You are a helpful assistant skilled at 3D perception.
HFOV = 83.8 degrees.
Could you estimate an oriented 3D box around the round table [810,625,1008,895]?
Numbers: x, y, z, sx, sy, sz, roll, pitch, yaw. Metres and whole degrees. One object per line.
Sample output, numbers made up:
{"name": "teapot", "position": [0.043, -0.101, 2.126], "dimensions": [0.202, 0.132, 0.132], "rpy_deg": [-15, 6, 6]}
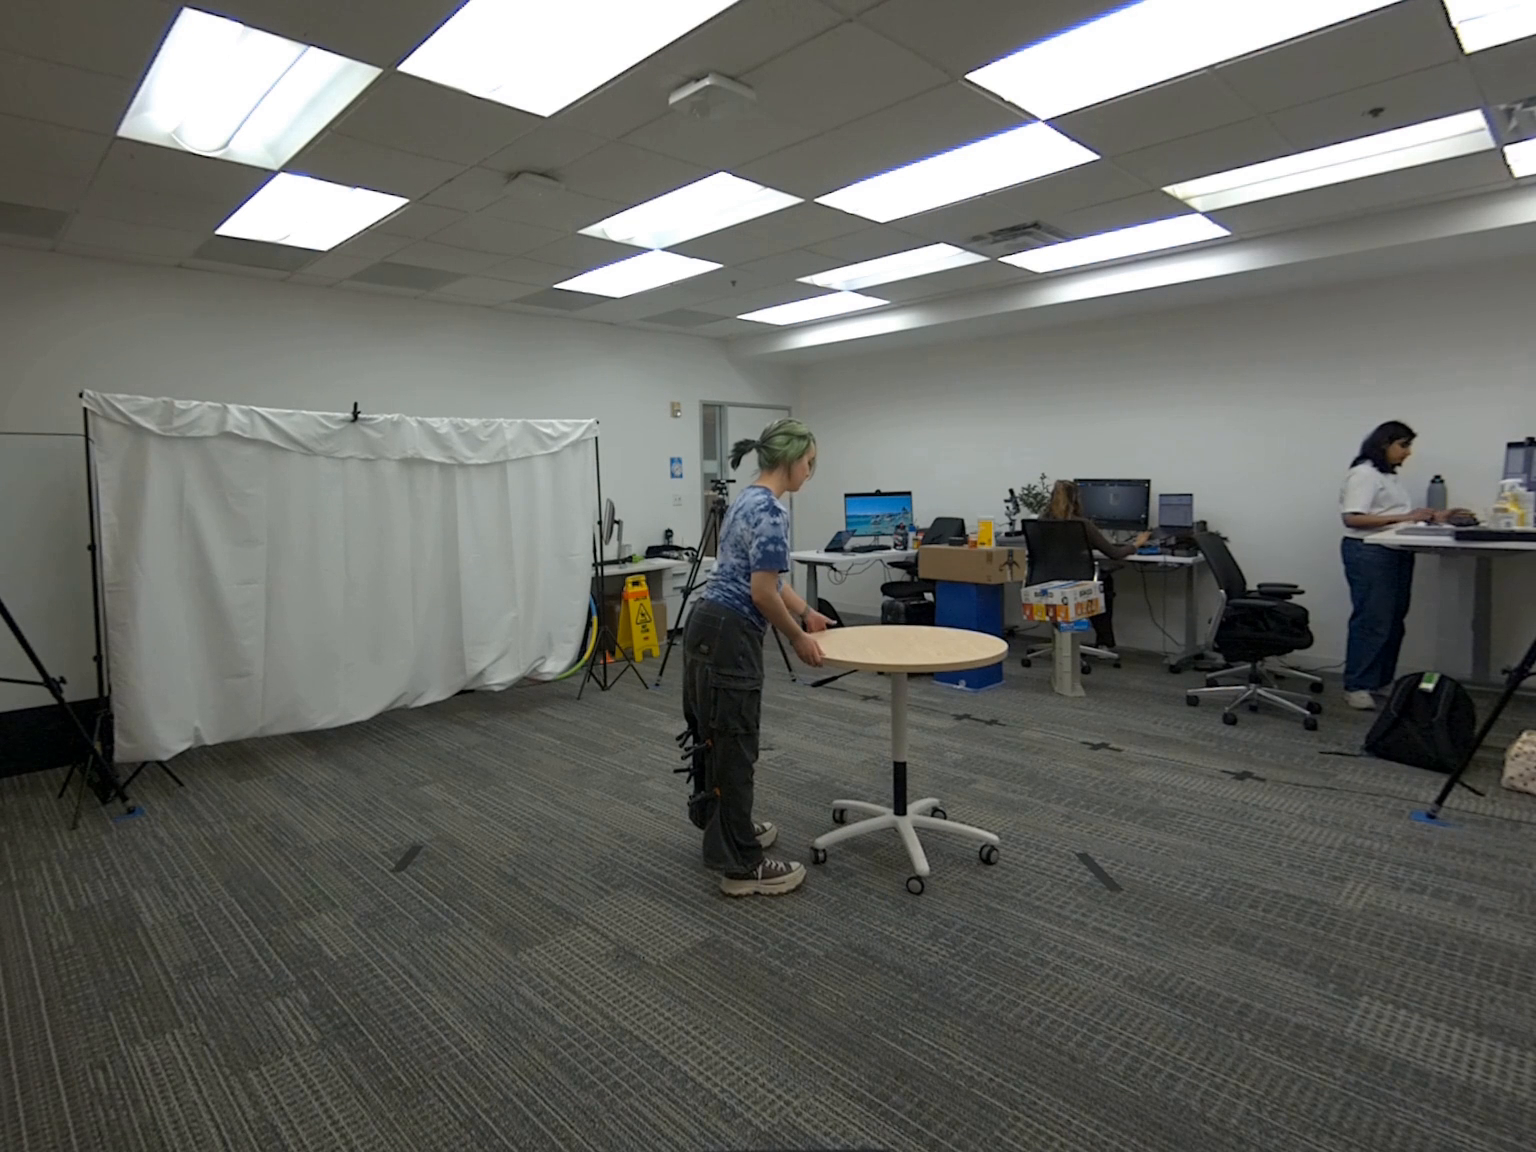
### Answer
{"name": "round table", "position": [0.491, 0.641, 3.174], "dimensions": [0.763, 0.791, 0.767], "rpy_deg": [-1, 4, -2]}
